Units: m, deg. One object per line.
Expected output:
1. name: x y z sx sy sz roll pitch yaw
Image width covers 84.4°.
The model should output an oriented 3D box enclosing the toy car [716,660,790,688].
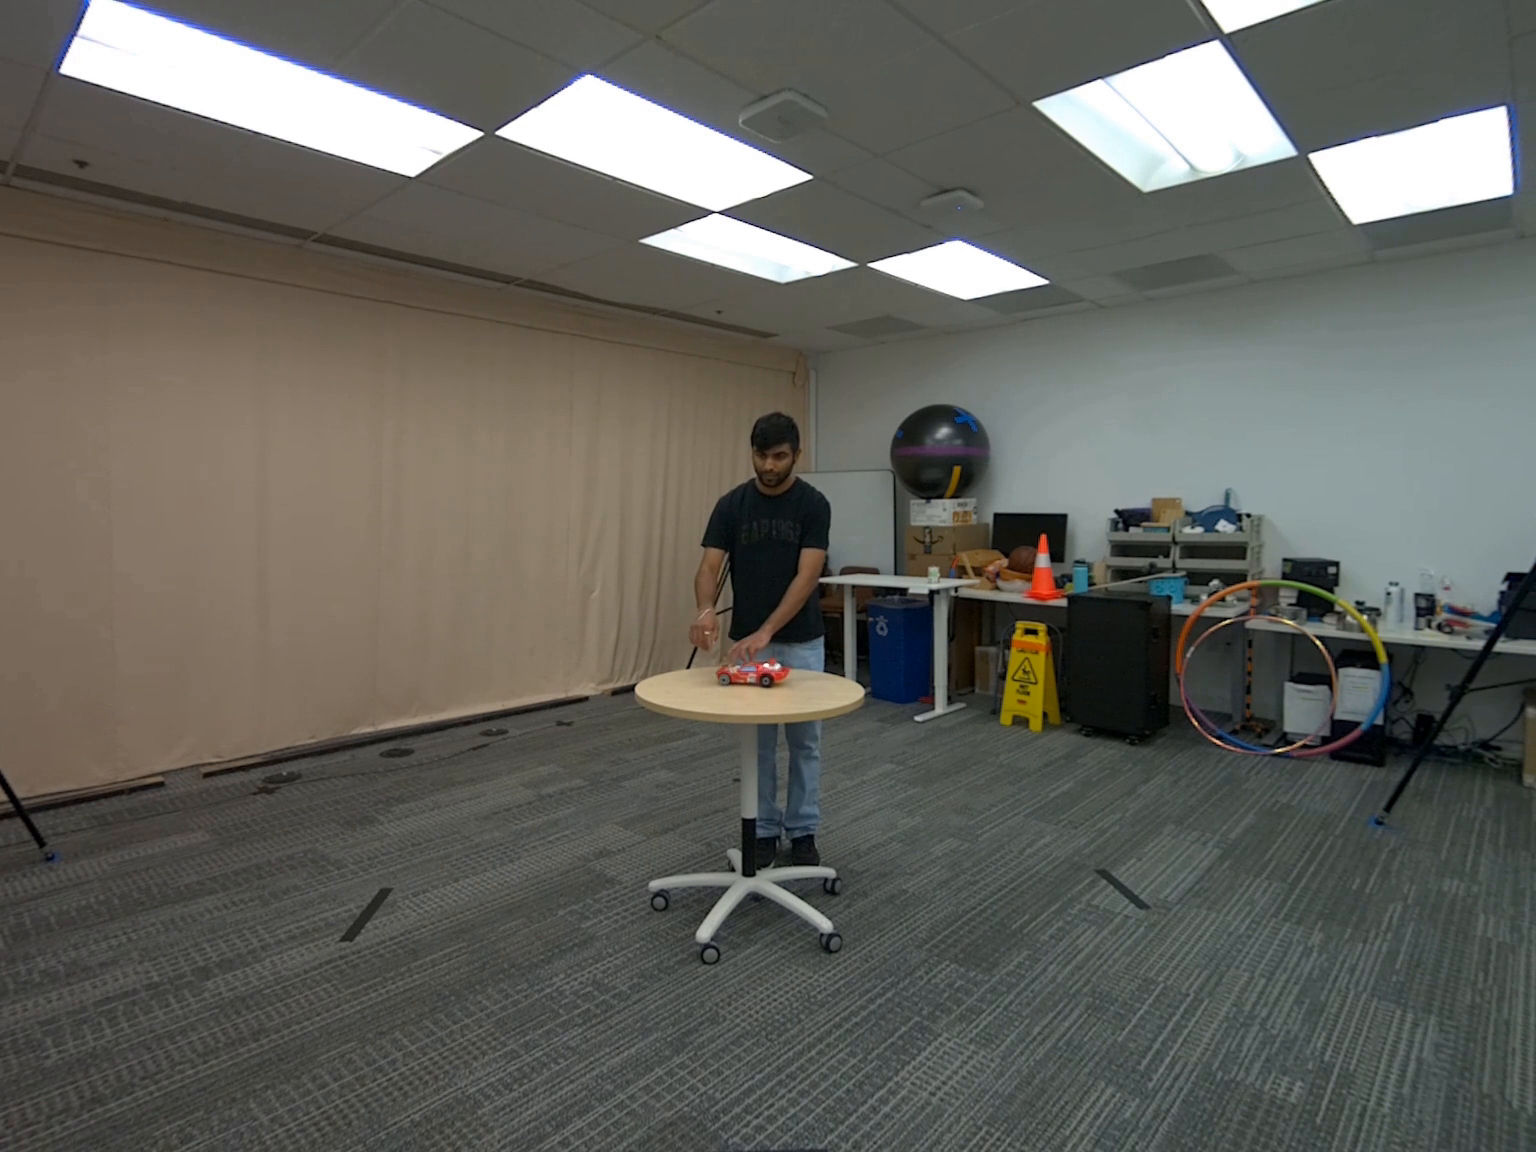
1. toy car: -0.043 0.338 2.881 0.258 0.083 0.129 -10 2 13
